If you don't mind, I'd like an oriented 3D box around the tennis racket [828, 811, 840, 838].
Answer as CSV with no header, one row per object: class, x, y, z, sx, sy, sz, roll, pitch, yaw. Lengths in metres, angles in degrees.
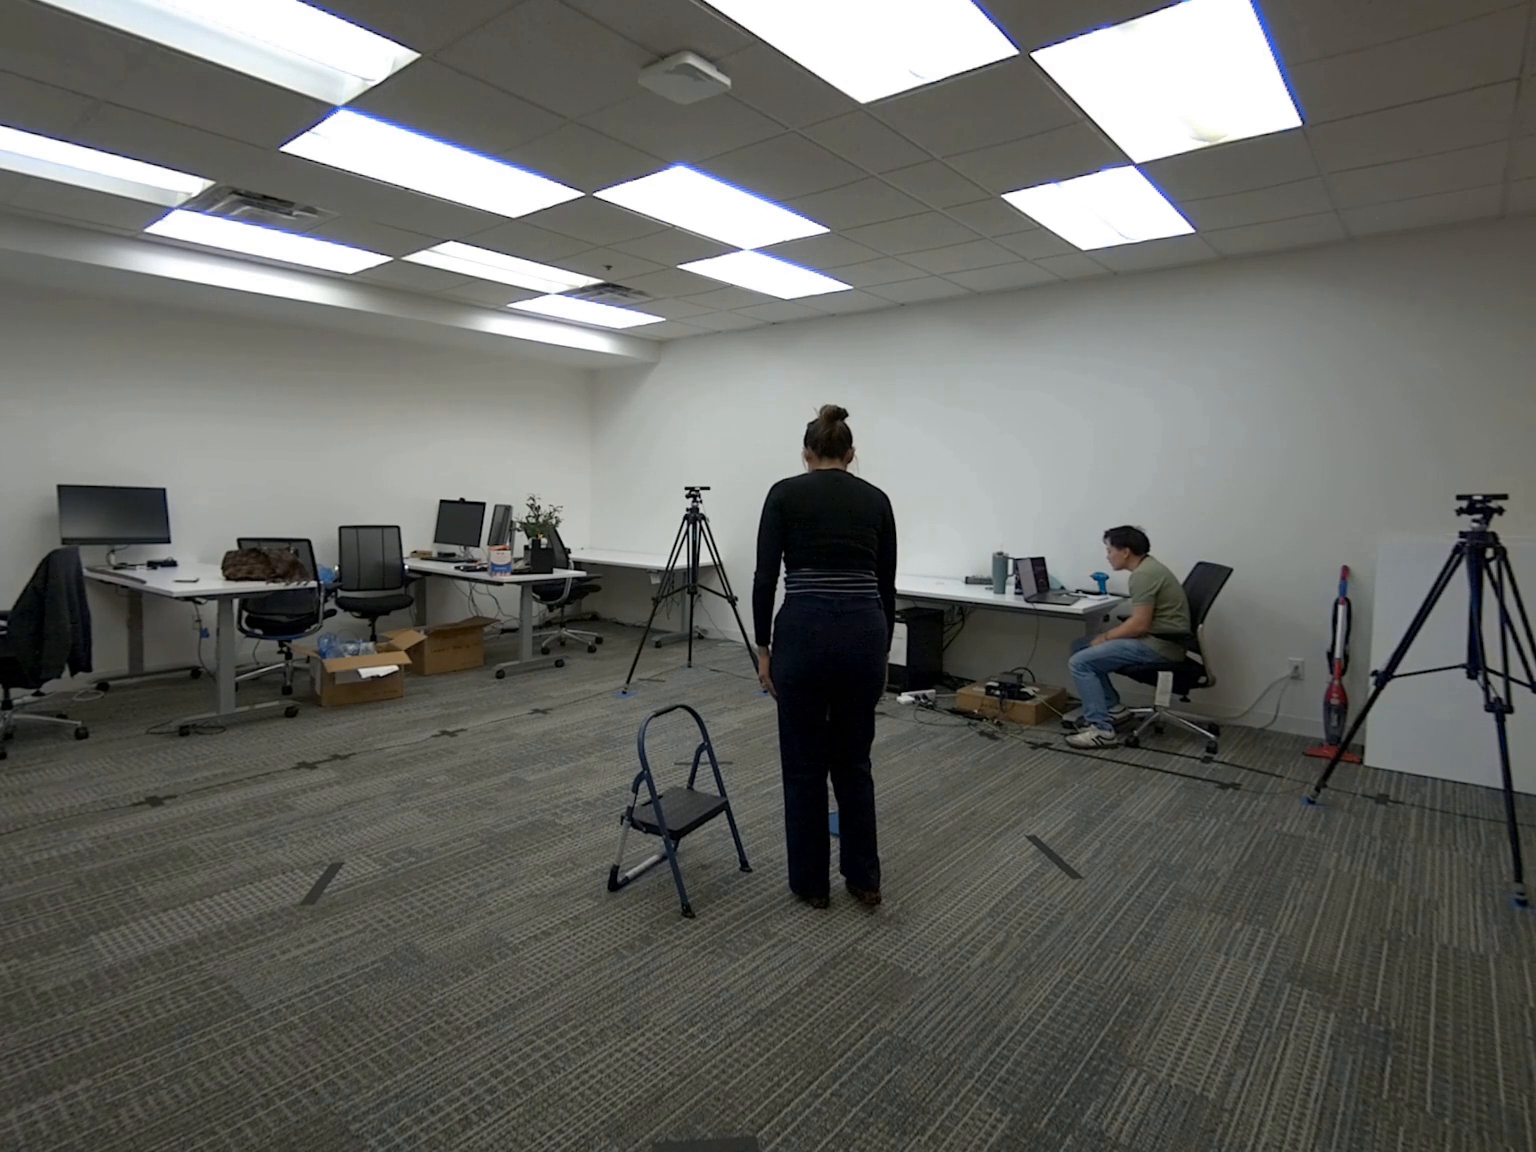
tennis racket,0.312,1.023,3.437,0.213,0.032,0.434,0,3,-3
